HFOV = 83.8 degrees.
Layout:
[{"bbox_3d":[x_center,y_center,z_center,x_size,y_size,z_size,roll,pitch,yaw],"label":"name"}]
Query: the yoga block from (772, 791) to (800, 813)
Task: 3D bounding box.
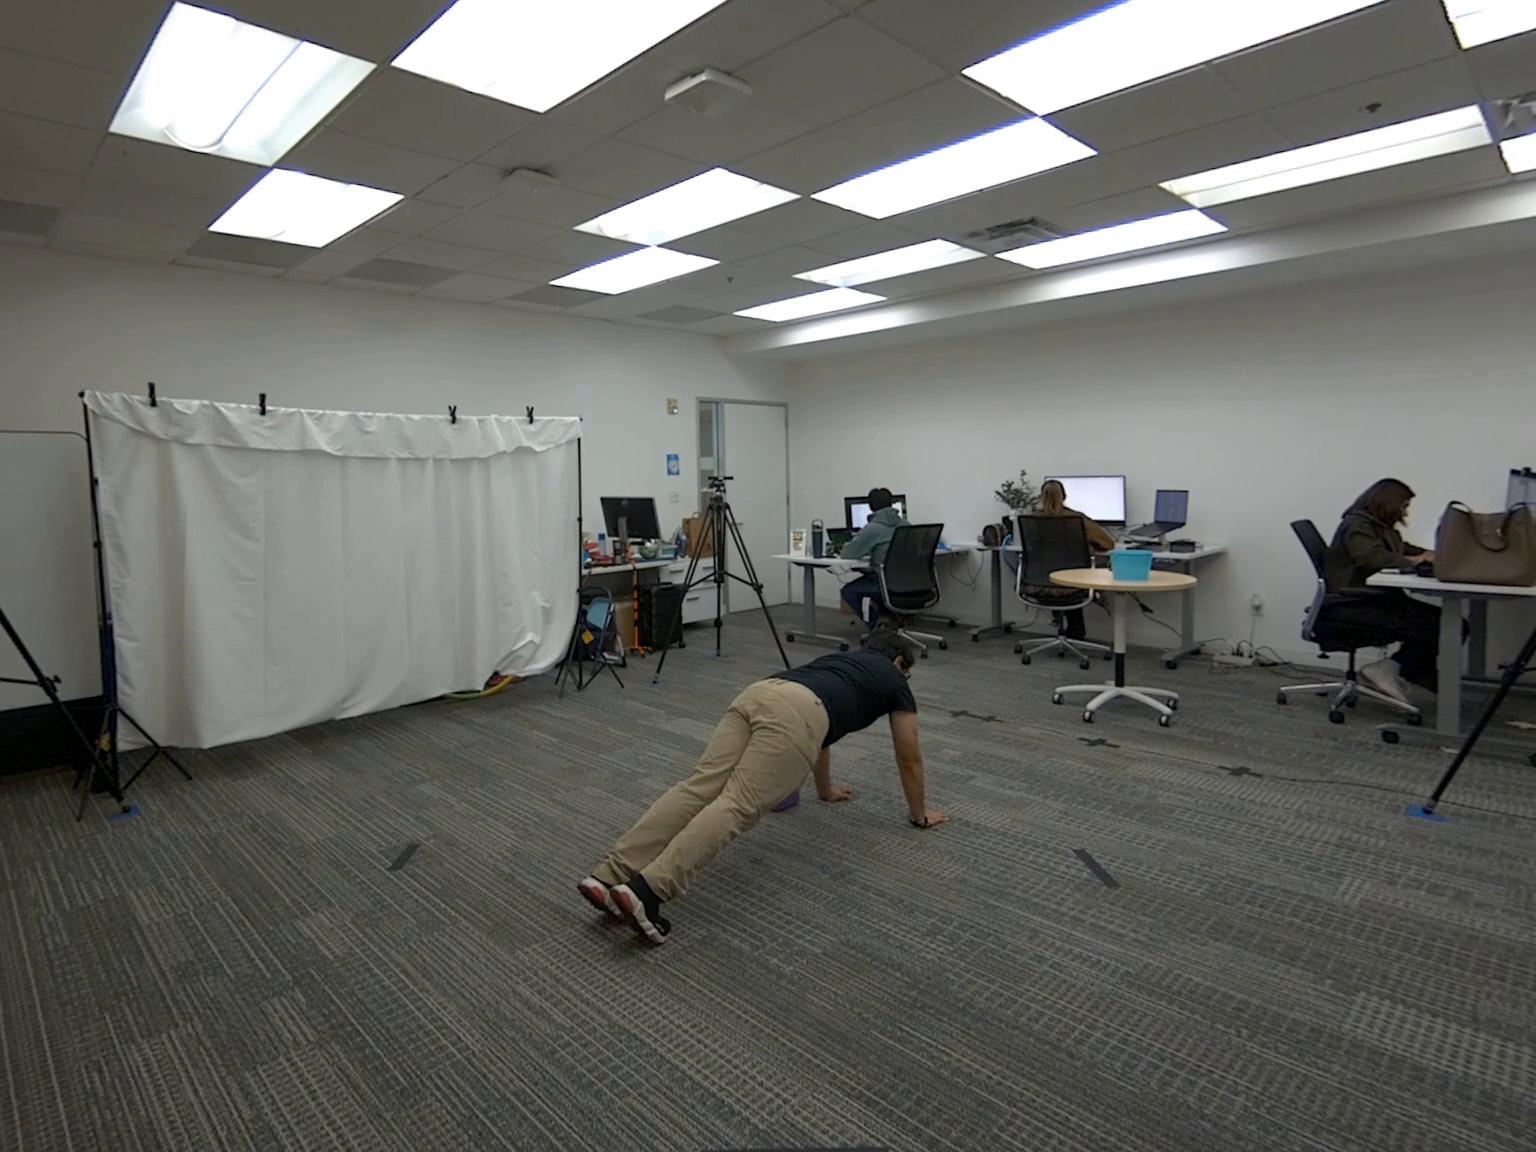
[{"bbox_3d":[0.014,0.928,3.677,0.145,0.076,0.236,-6,8,-42],"label":"yoga block"}]
